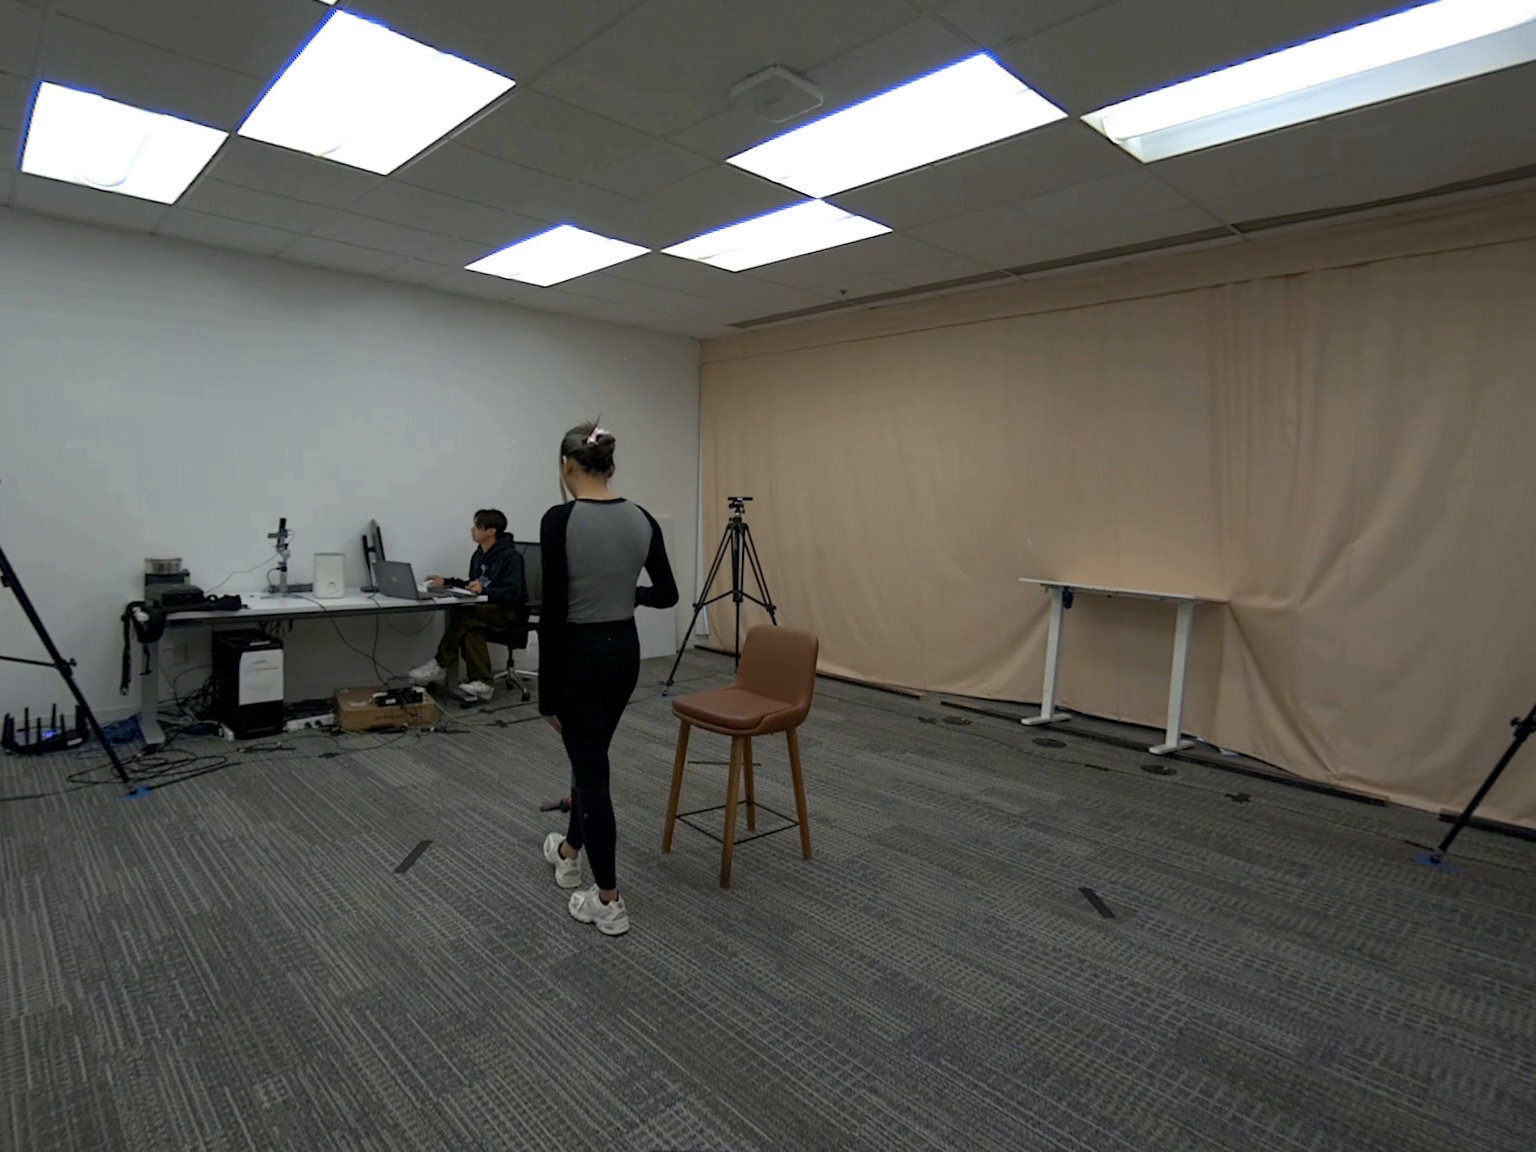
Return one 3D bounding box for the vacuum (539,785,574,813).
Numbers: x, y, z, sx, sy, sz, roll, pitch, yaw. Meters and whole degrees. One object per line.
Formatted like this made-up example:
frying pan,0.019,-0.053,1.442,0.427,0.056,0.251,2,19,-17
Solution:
vacuum,-0.648,0.520,3.182,0.247,1.038,0.148,1,34,-34
